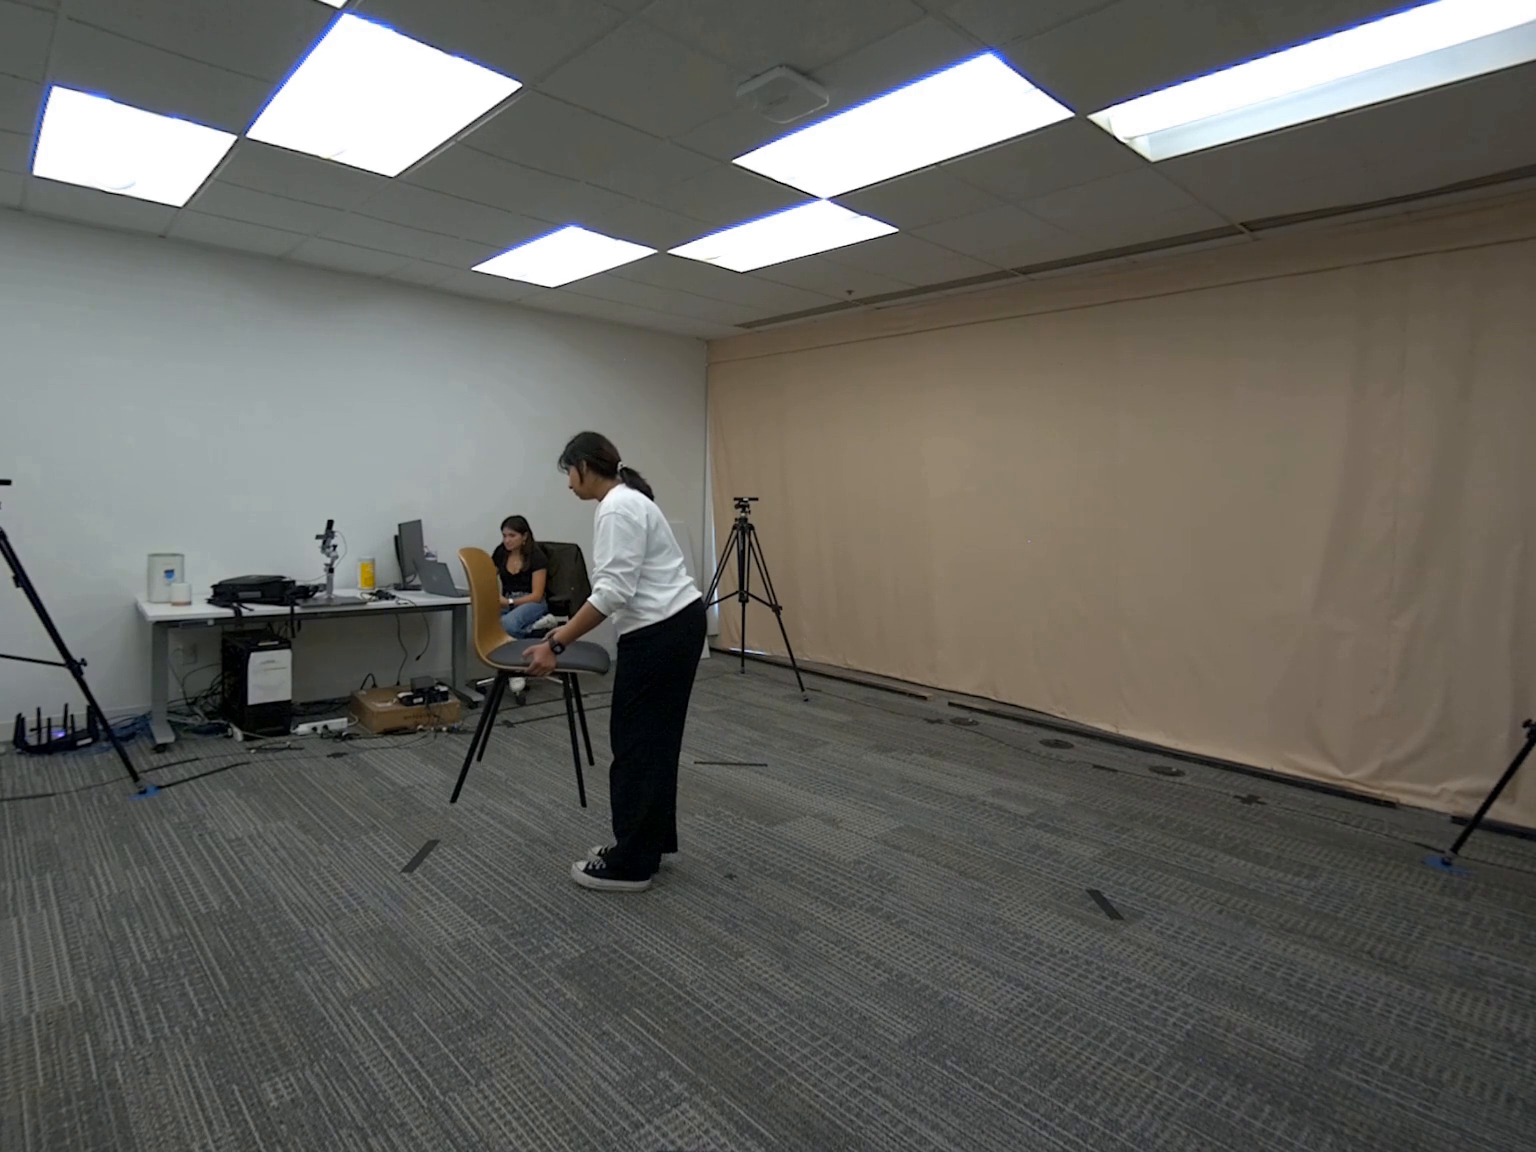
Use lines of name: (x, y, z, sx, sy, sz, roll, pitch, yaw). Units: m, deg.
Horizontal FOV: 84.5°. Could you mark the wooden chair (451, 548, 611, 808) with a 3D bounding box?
wooden chair: (-0.840, 0.339, 3.050, 0.520, 0.875, 0.482, -1, 4, -7)
